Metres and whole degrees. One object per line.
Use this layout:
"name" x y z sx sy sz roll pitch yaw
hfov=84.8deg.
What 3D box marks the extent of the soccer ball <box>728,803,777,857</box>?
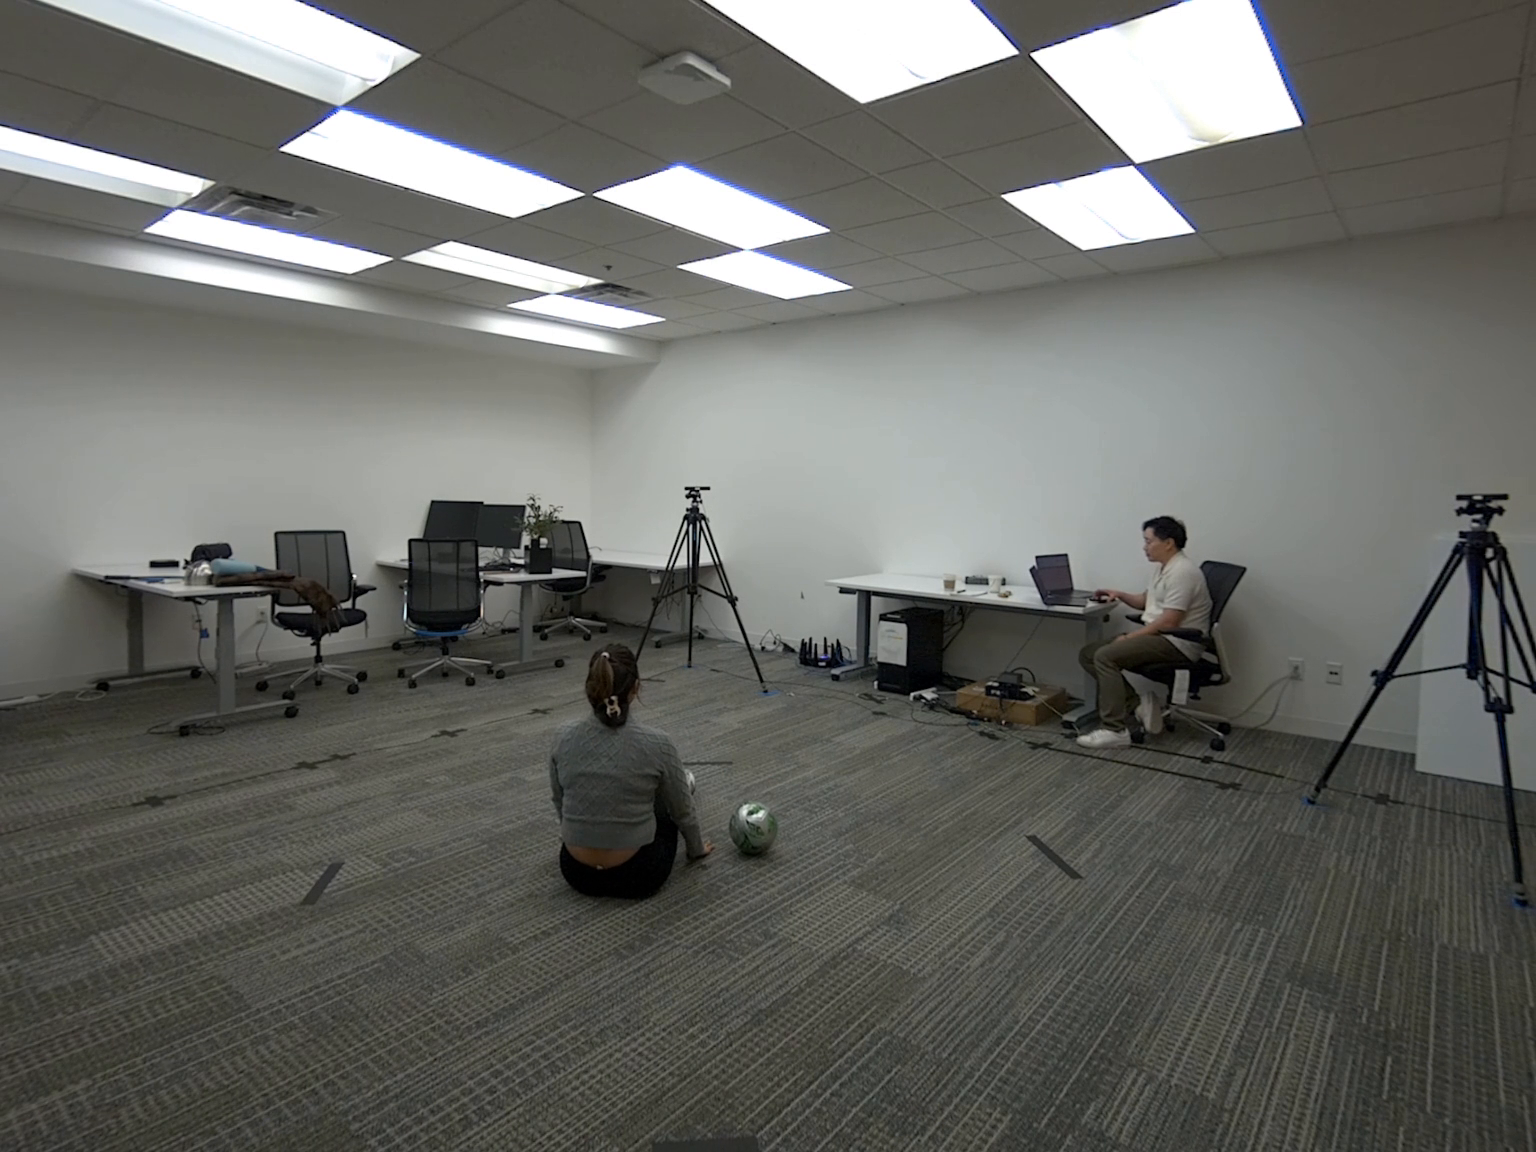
"soccer ball" -0.068 0.962 3.247 0.187 0.187 0.188 0 4 -2
